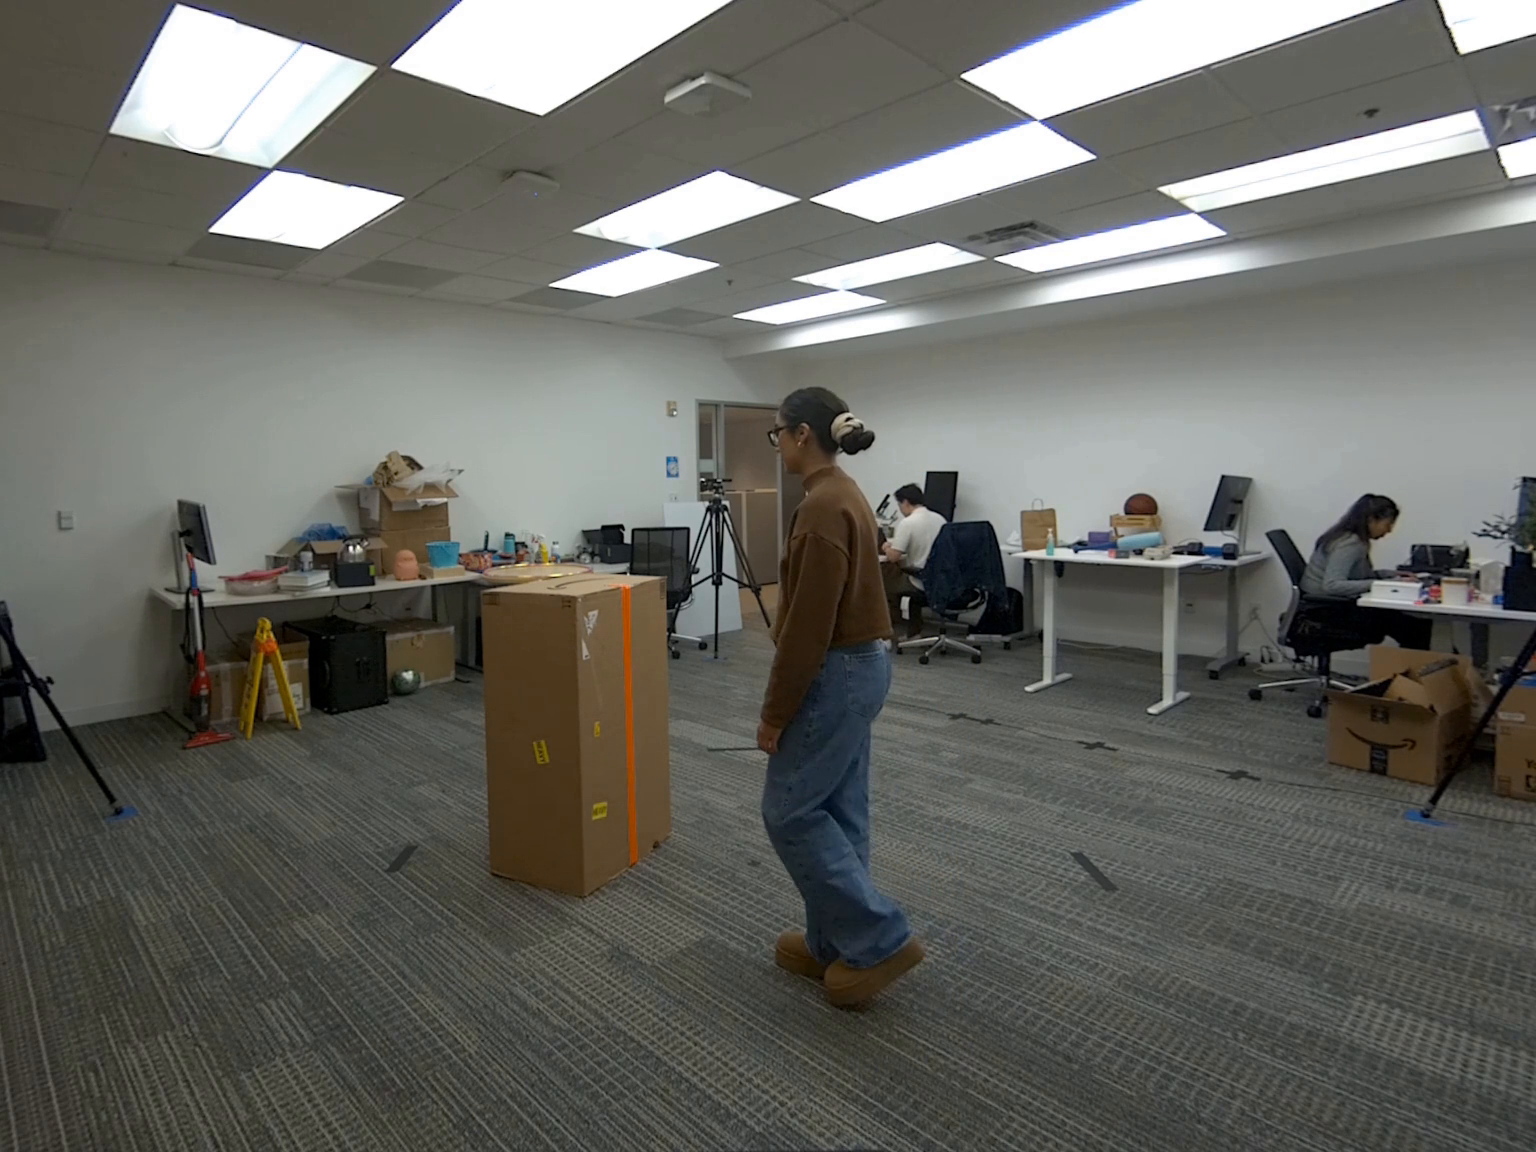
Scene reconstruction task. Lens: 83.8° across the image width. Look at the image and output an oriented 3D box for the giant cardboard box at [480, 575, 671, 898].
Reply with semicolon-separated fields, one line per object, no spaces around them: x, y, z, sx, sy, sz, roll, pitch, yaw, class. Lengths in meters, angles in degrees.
-0.696;0.535;3.190;0.436;1.022;0.566;1;4;27;giant cardboard box
